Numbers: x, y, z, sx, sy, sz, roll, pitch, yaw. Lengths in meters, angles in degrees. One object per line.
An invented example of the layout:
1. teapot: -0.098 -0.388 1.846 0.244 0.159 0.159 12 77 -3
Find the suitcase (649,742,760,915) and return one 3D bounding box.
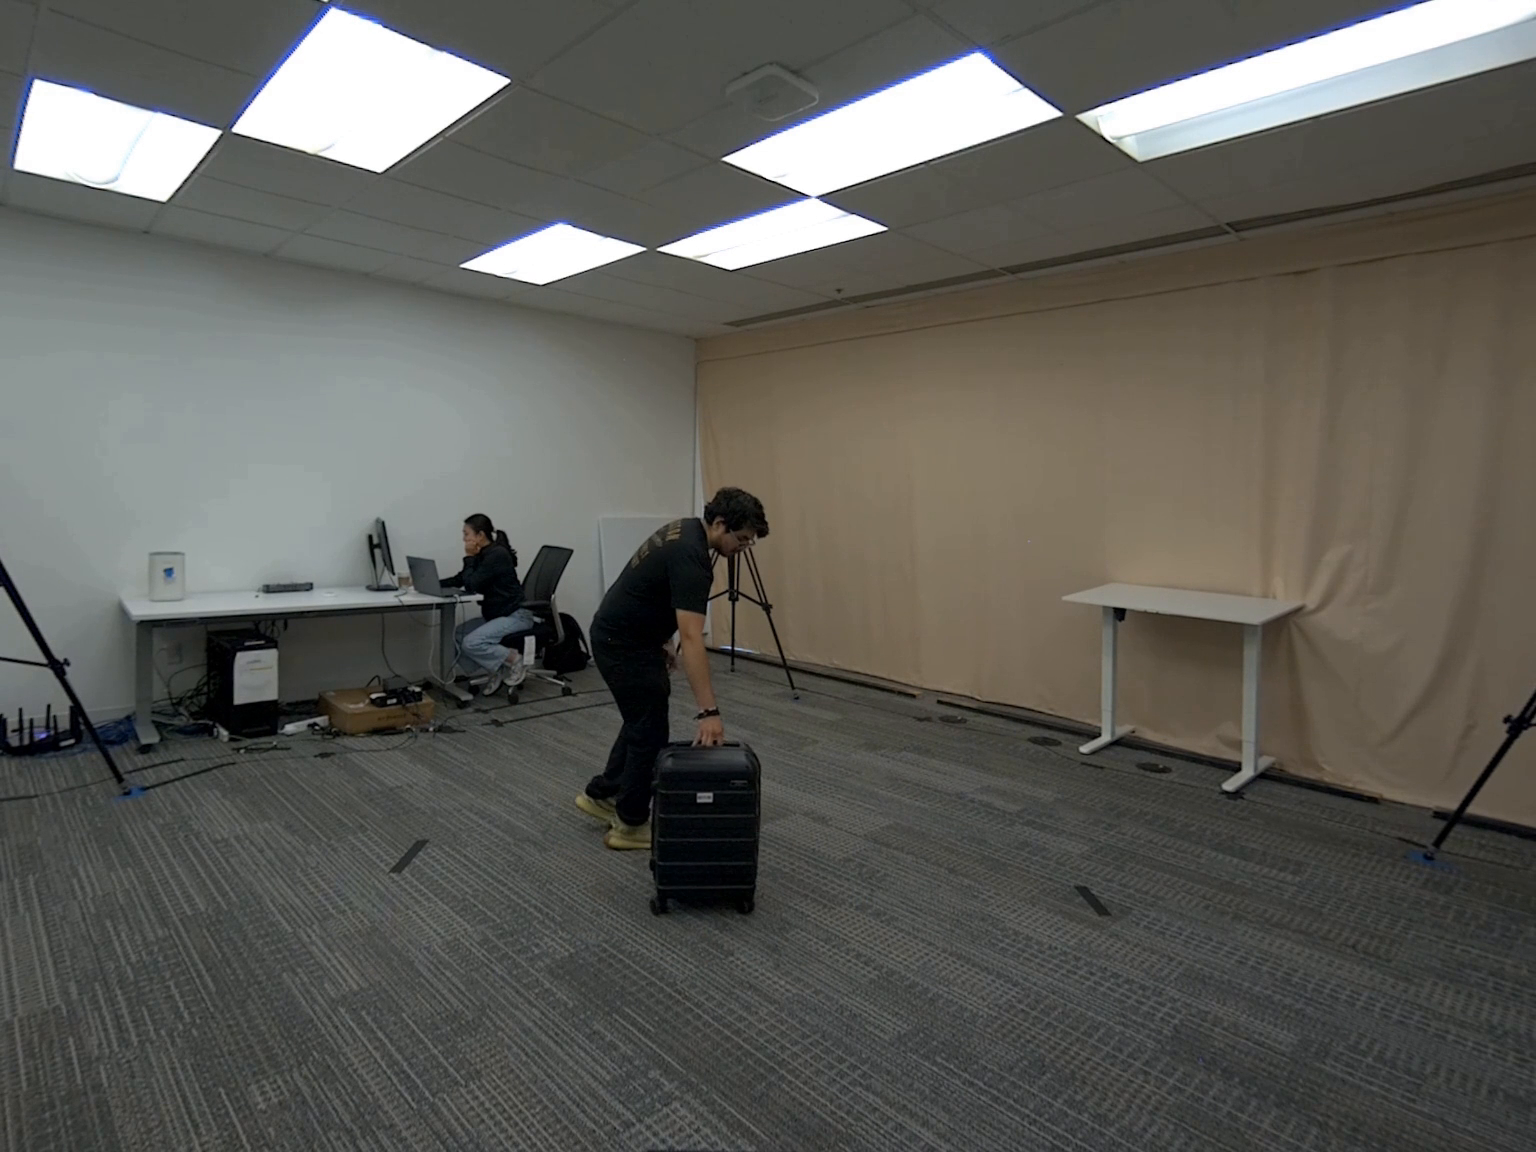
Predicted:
1. suitcase: -0.220 0.850 2.890 0.374 0.547 0.250 1 5 -5
